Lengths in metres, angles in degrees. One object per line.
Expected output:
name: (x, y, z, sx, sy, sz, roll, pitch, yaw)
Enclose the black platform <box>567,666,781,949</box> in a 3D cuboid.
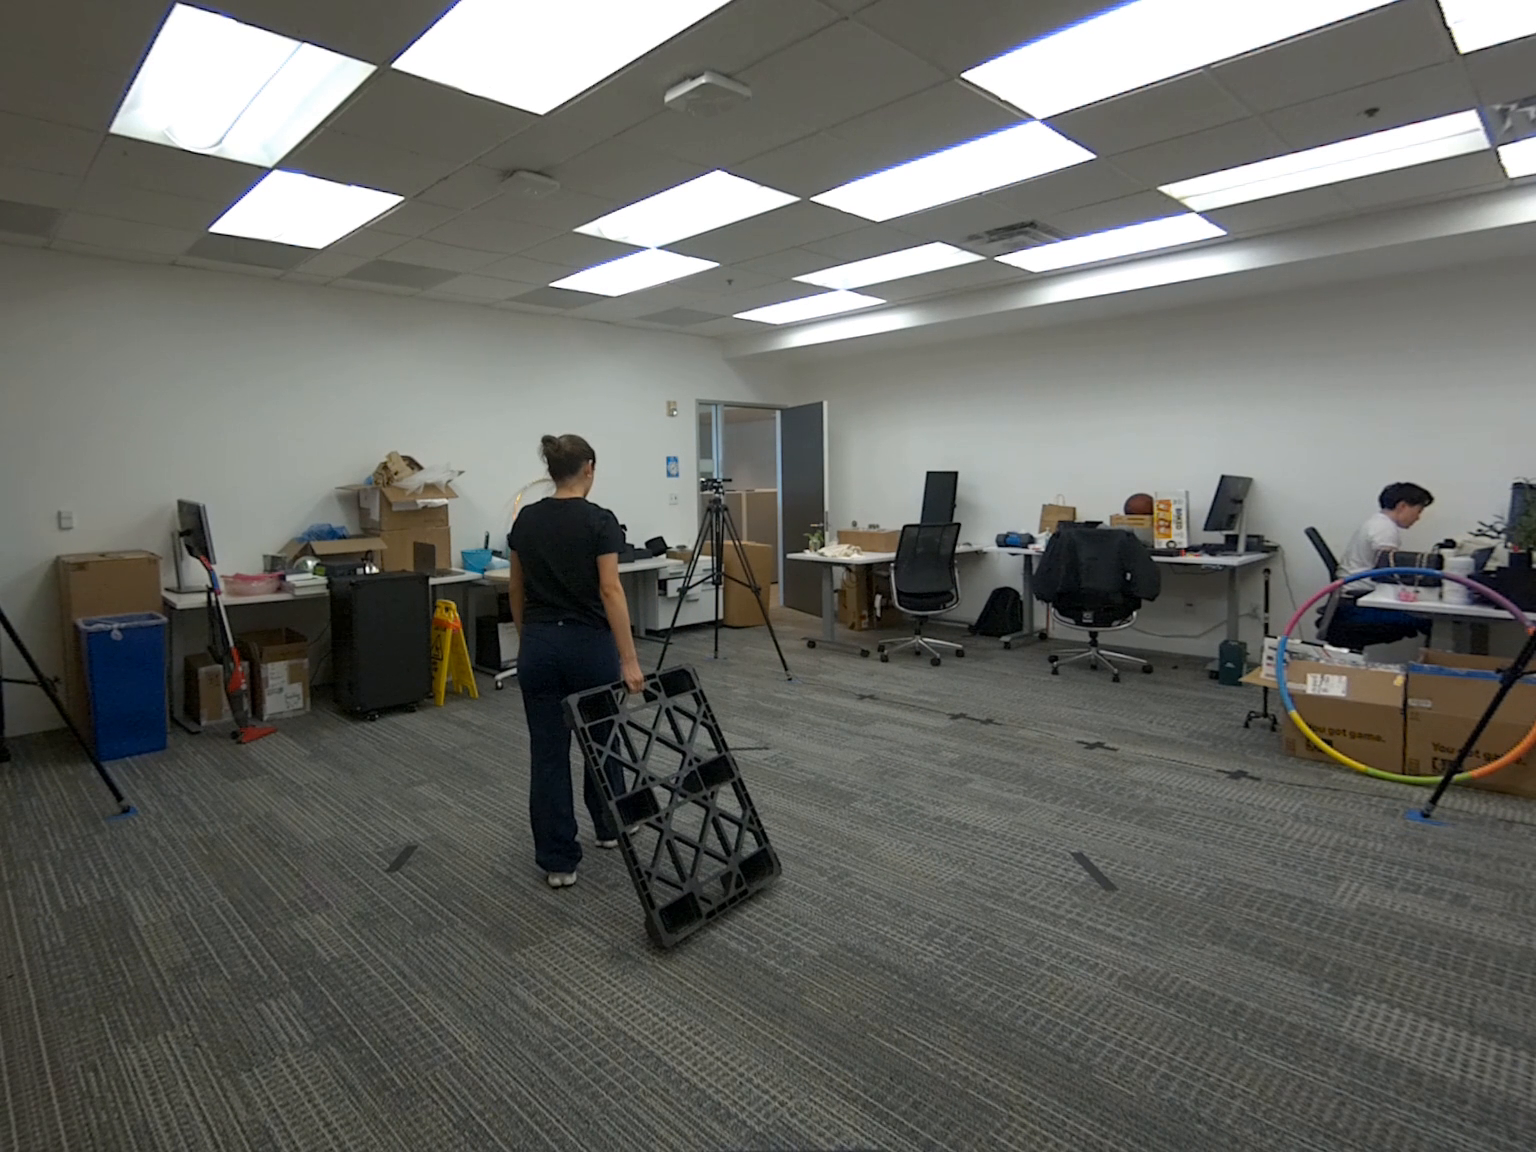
black platform: (-0.328, 0.725, 2.865, 0.144, 0.821, 0.590, -36, -18, 35)
